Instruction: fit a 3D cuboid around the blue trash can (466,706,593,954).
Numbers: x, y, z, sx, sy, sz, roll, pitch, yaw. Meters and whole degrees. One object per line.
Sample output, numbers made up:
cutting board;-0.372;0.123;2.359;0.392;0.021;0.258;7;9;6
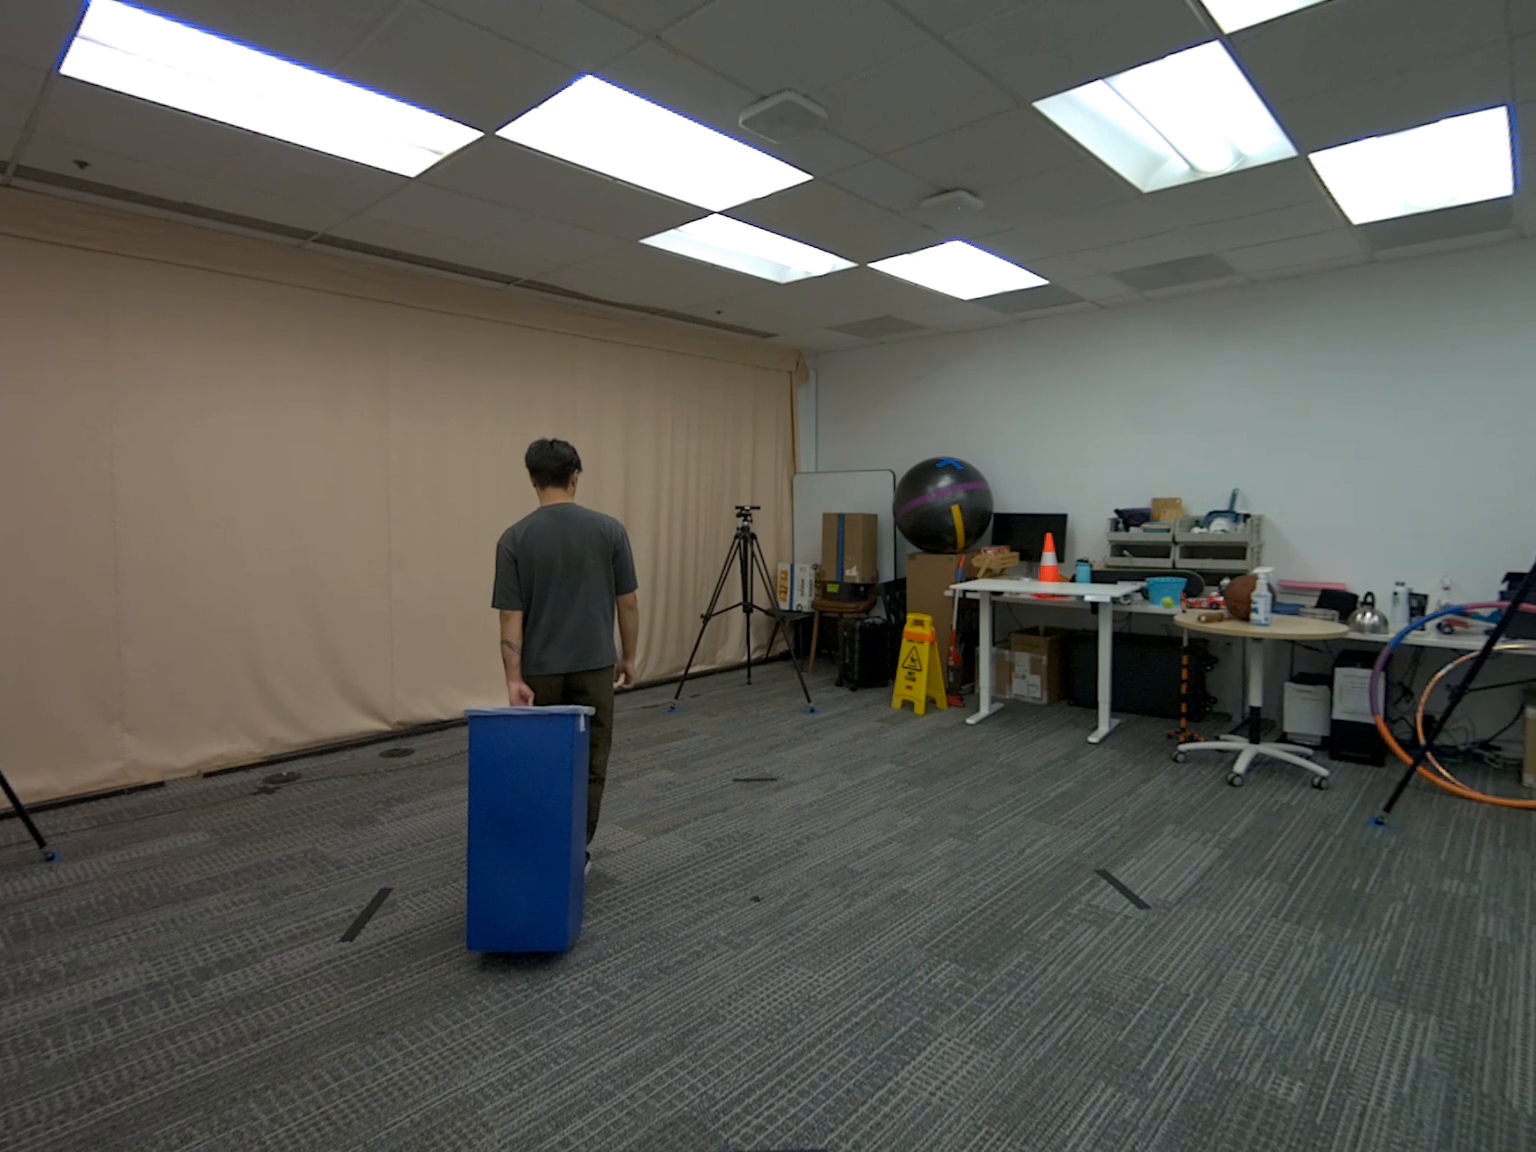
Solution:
blue trash can;-0.769;0.788;2.716;0.373;0.719;0.376;-1;-12;-2
